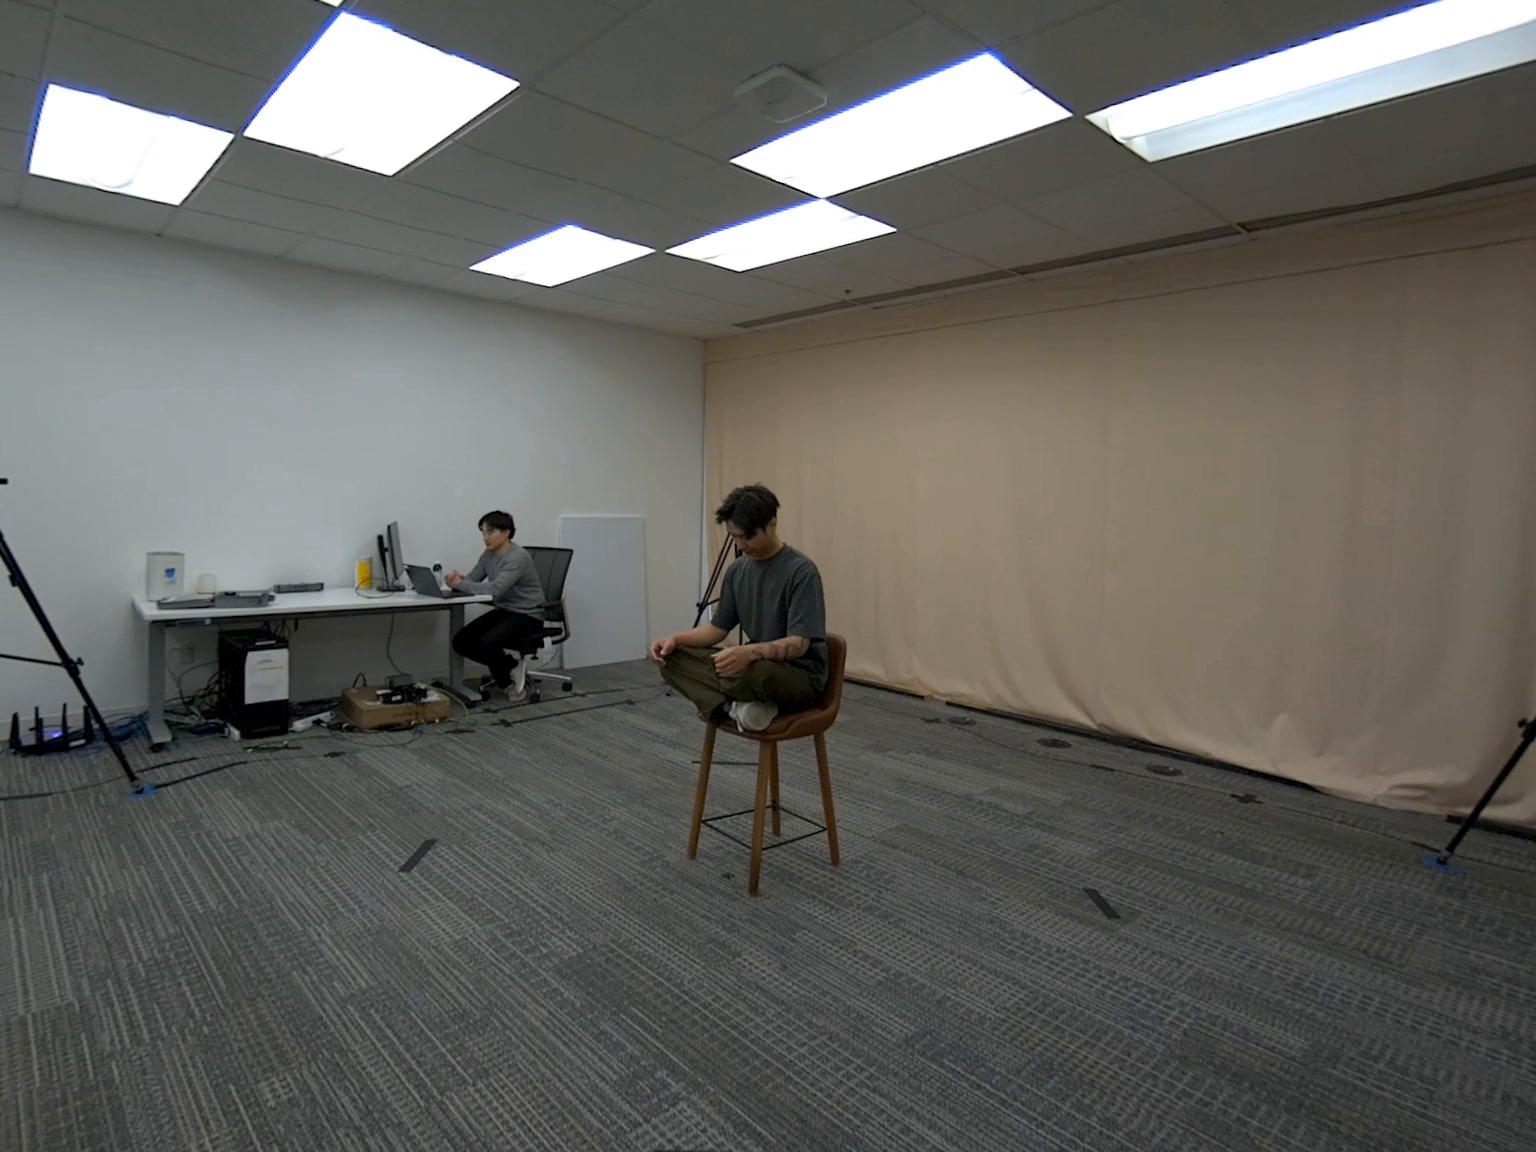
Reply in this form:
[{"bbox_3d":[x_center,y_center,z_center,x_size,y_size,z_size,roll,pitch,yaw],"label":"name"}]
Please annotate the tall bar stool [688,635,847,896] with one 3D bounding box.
[{"bbox_3d":[0.003,0.665,3.221,0.456,0.889,0.468,2,1,-39],"label":"tall bar stool"}]
